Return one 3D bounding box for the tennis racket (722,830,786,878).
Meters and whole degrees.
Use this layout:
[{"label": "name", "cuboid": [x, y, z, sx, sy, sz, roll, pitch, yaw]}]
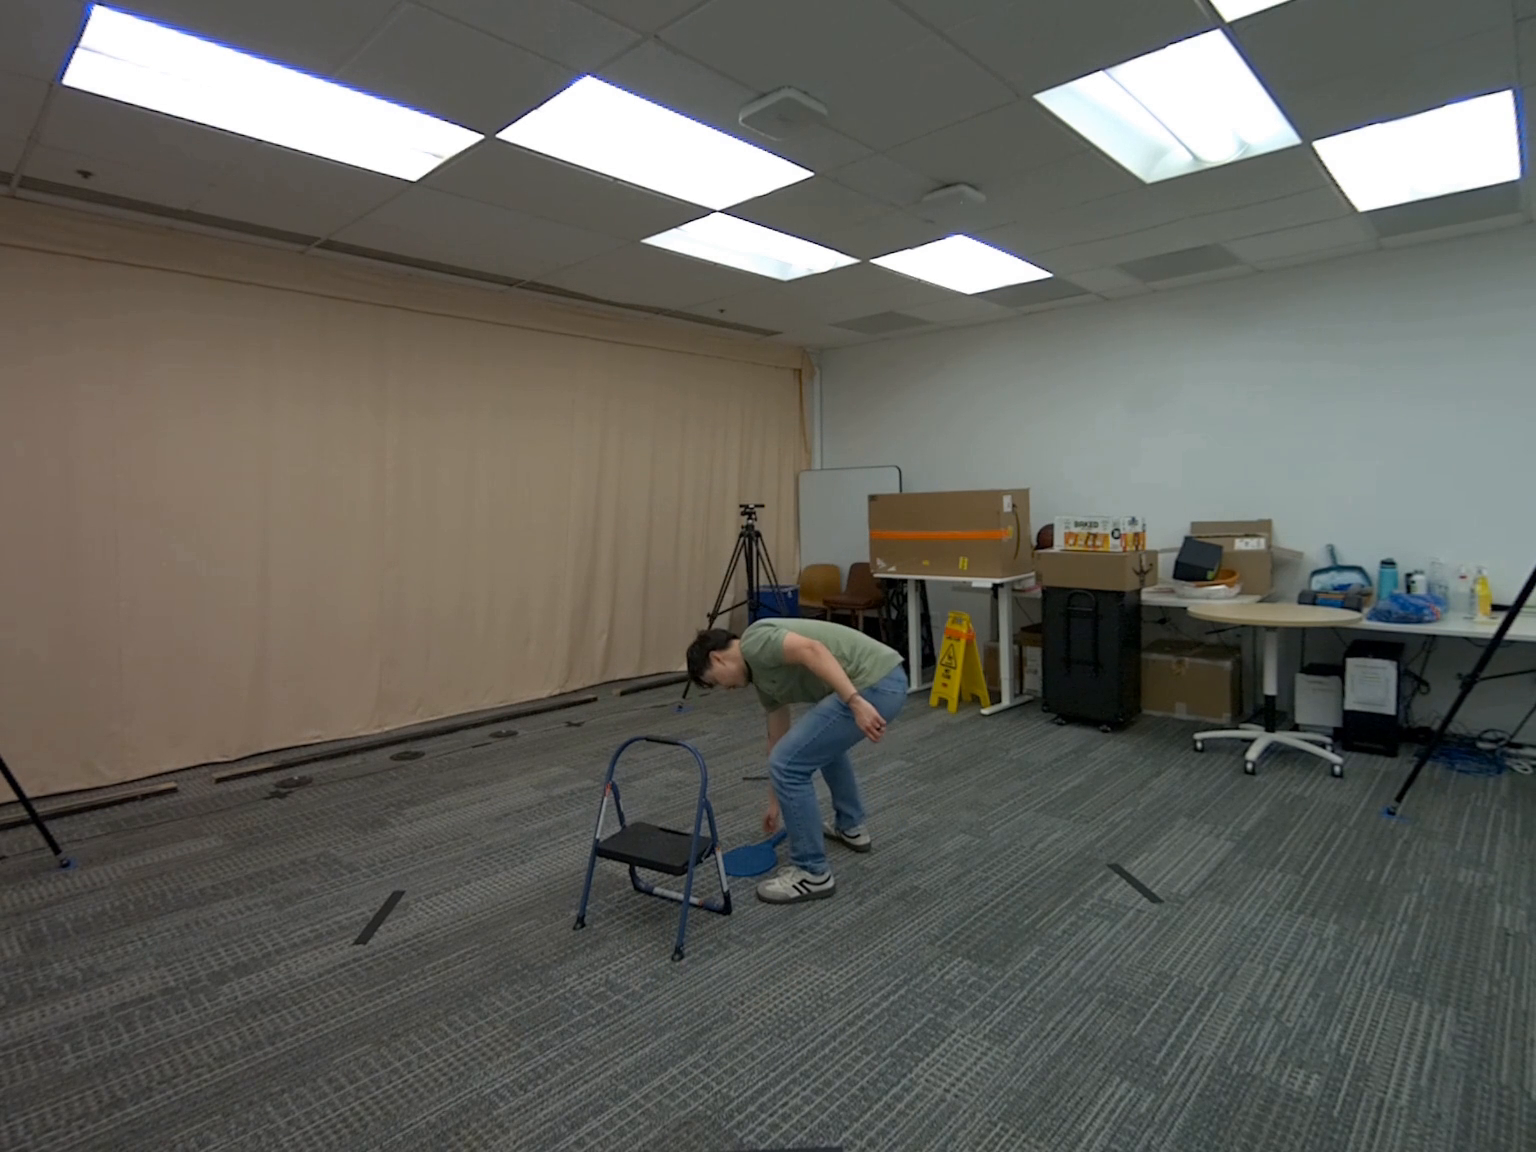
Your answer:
[{"label": "tennis racket", "cuboid": [-0.037, 1.096, 3.343, 0.220, 0.031, 0.422, 2, 7, 30]}]
